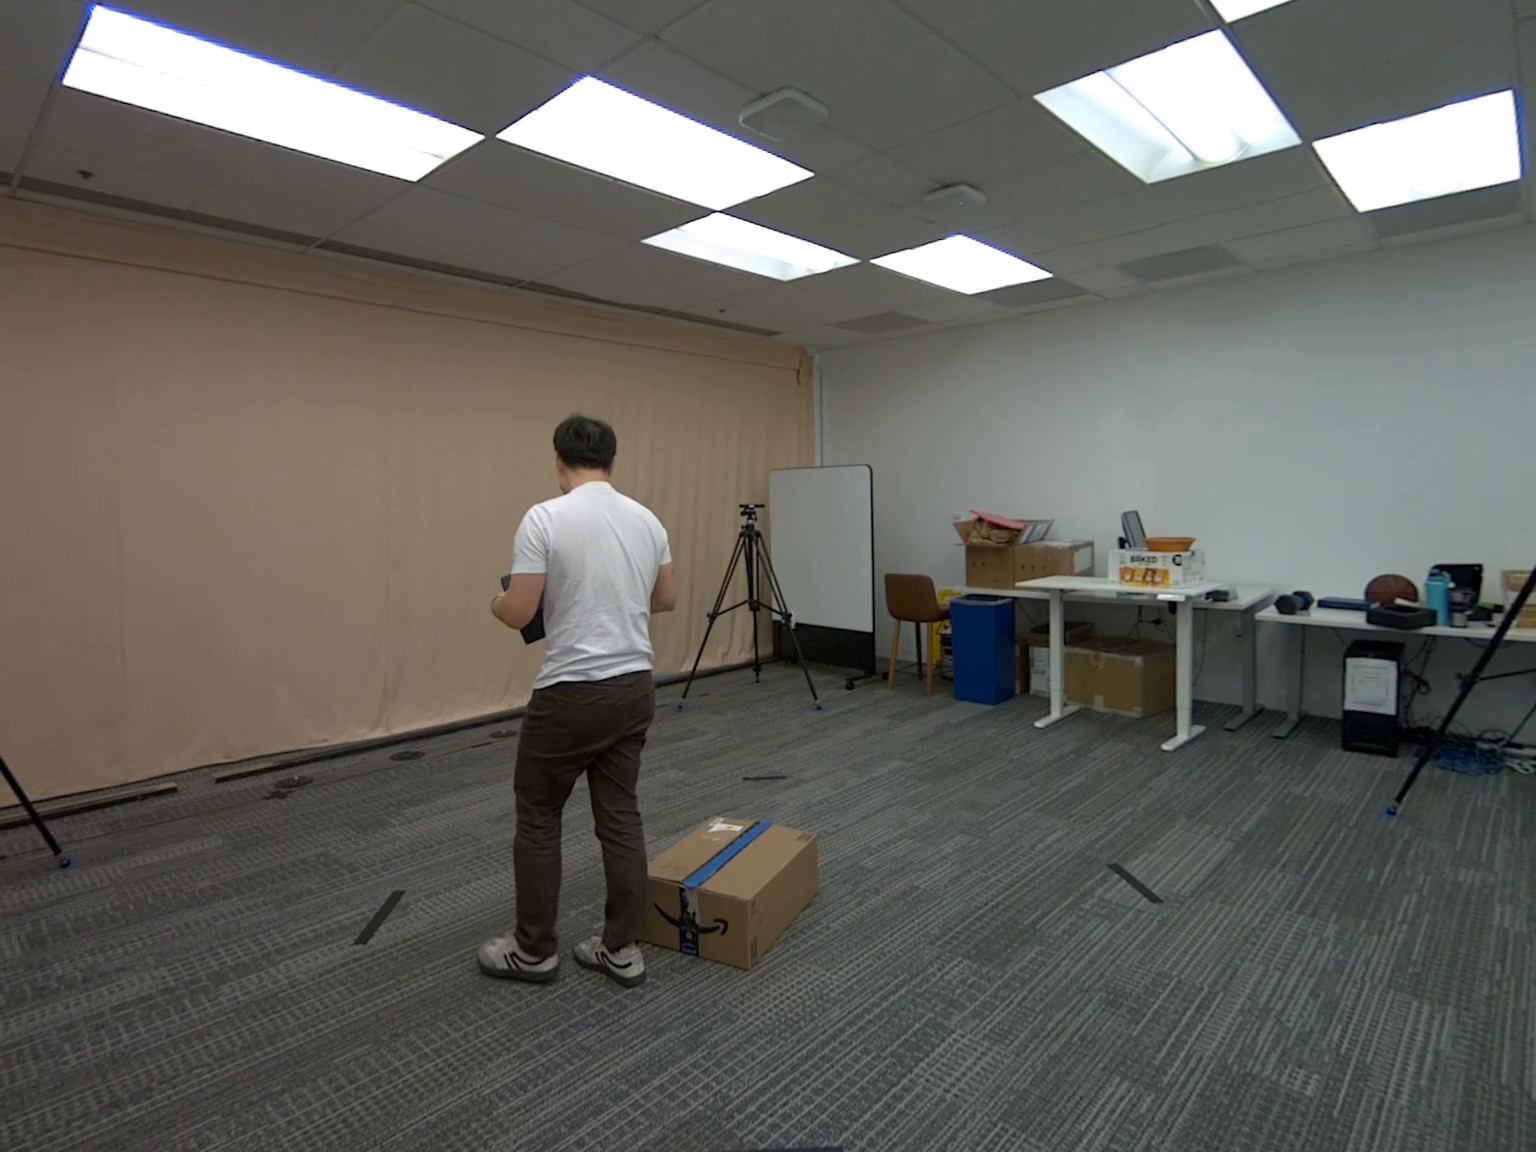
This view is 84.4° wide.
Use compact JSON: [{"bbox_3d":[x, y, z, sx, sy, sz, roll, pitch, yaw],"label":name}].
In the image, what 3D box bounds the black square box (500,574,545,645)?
[{"bbox_3d":[-0.728,0.077,2.727,0.225,0.160,0.214,-22,-24,-16],"label":"black square box"}]
